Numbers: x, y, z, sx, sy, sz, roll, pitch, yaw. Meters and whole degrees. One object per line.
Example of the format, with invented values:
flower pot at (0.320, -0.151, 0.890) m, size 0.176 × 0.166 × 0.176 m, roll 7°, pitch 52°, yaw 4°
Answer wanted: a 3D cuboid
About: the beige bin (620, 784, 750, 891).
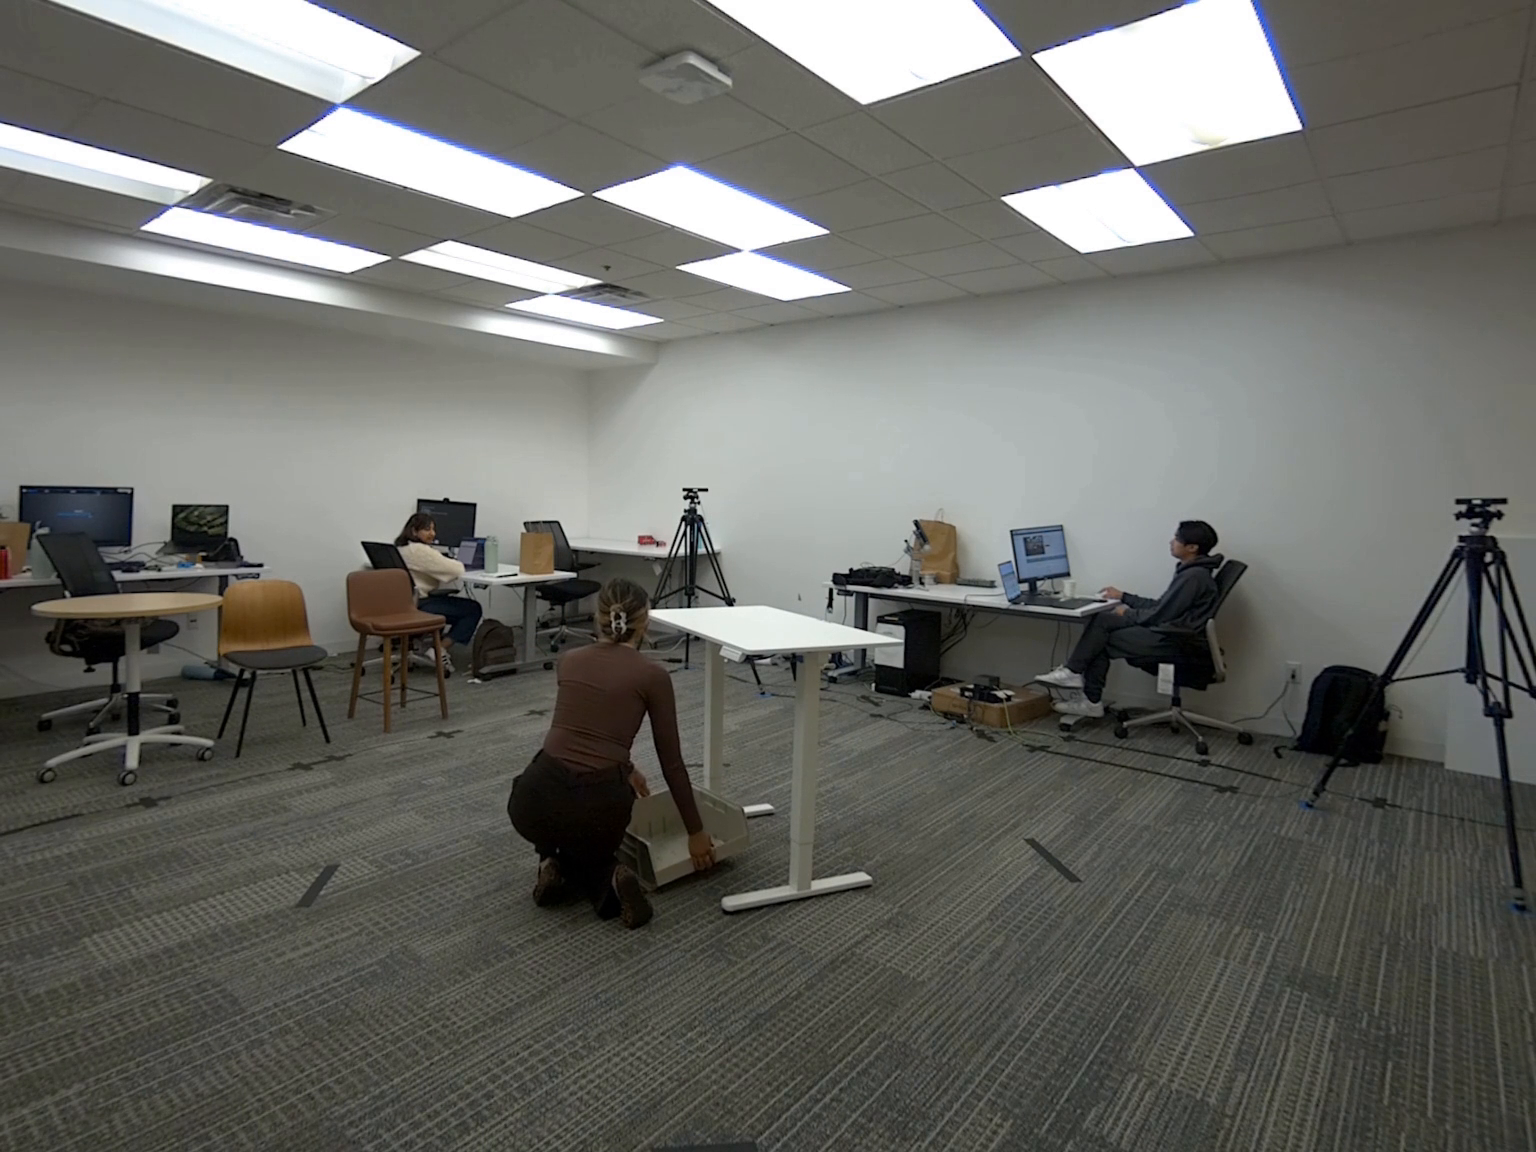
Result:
beige bin at (-0.353, 0.956, 3.141) m, size 0.411 × 0.188 × 0.390 m, roll -10°, pitch 10°, yaw -38°
